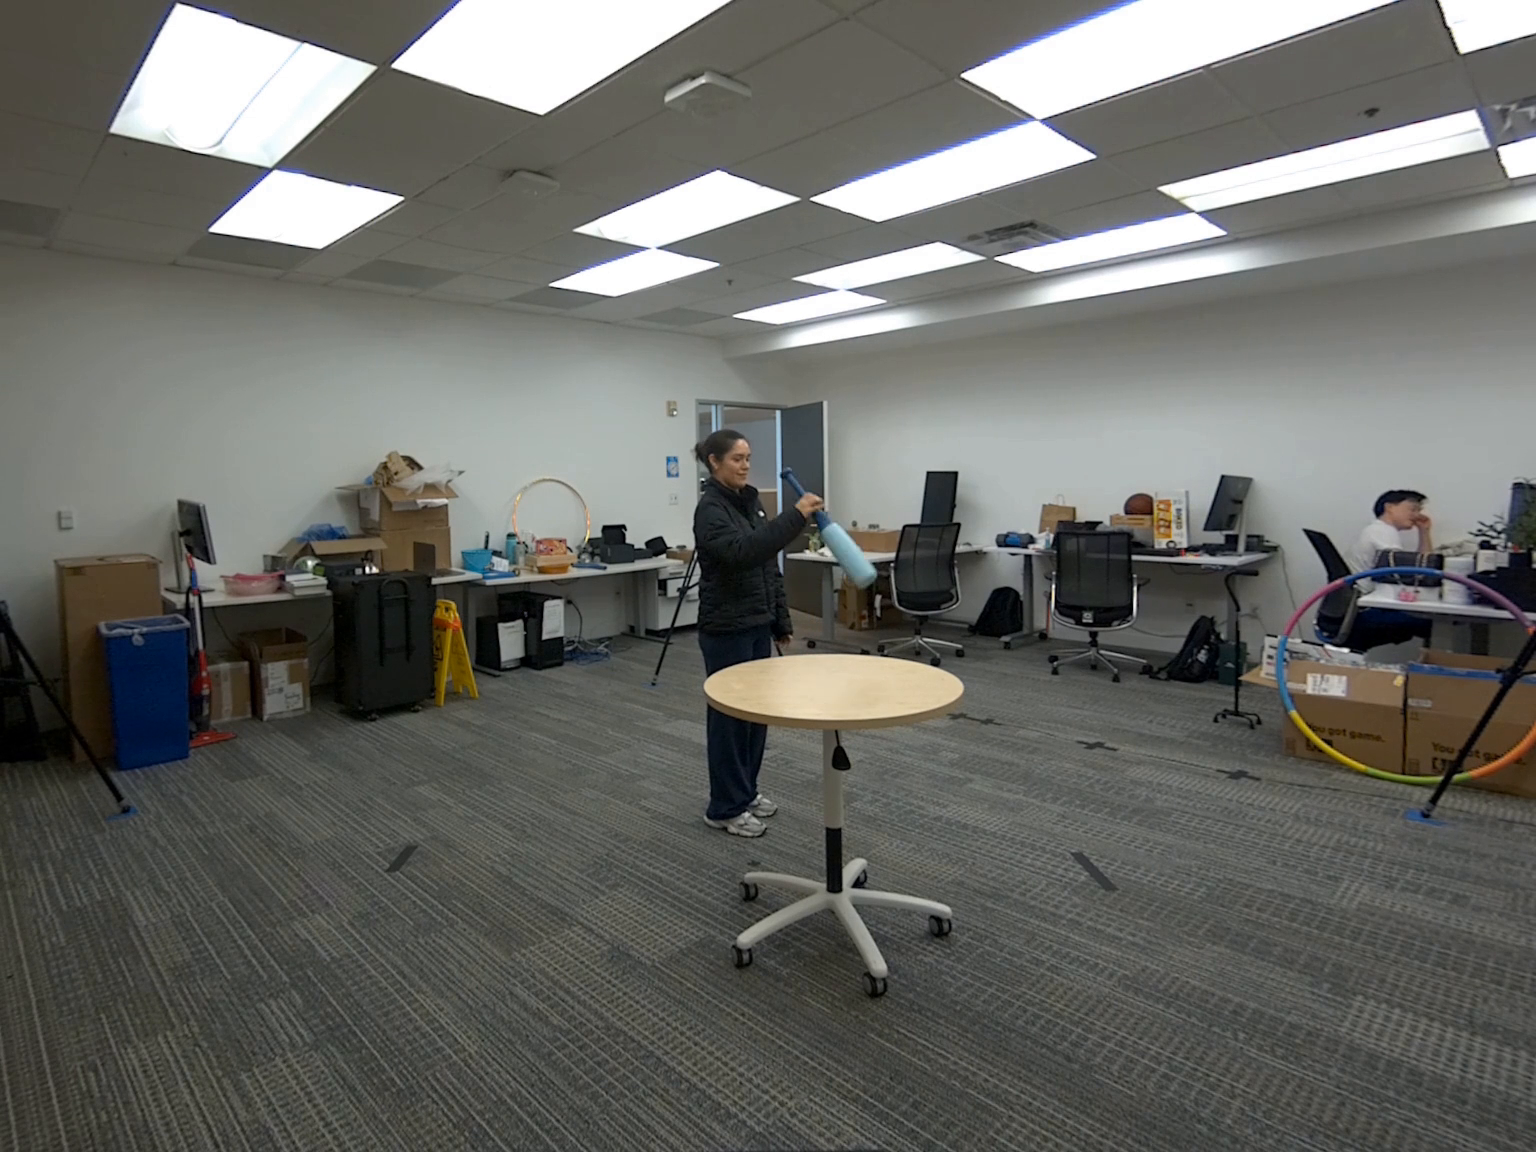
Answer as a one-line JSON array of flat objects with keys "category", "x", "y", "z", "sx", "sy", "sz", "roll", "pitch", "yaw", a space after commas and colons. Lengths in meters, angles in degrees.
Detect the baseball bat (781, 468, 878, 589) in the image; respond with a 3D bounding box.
[{"category": "baseball bat", "x": 0.196, "y": -0.159, "z": 3.116, "sx": 0.088, "sy": 0.560, "sz": 0.087, "roll": -26, "pitch": -27, "yaw": -15}]
